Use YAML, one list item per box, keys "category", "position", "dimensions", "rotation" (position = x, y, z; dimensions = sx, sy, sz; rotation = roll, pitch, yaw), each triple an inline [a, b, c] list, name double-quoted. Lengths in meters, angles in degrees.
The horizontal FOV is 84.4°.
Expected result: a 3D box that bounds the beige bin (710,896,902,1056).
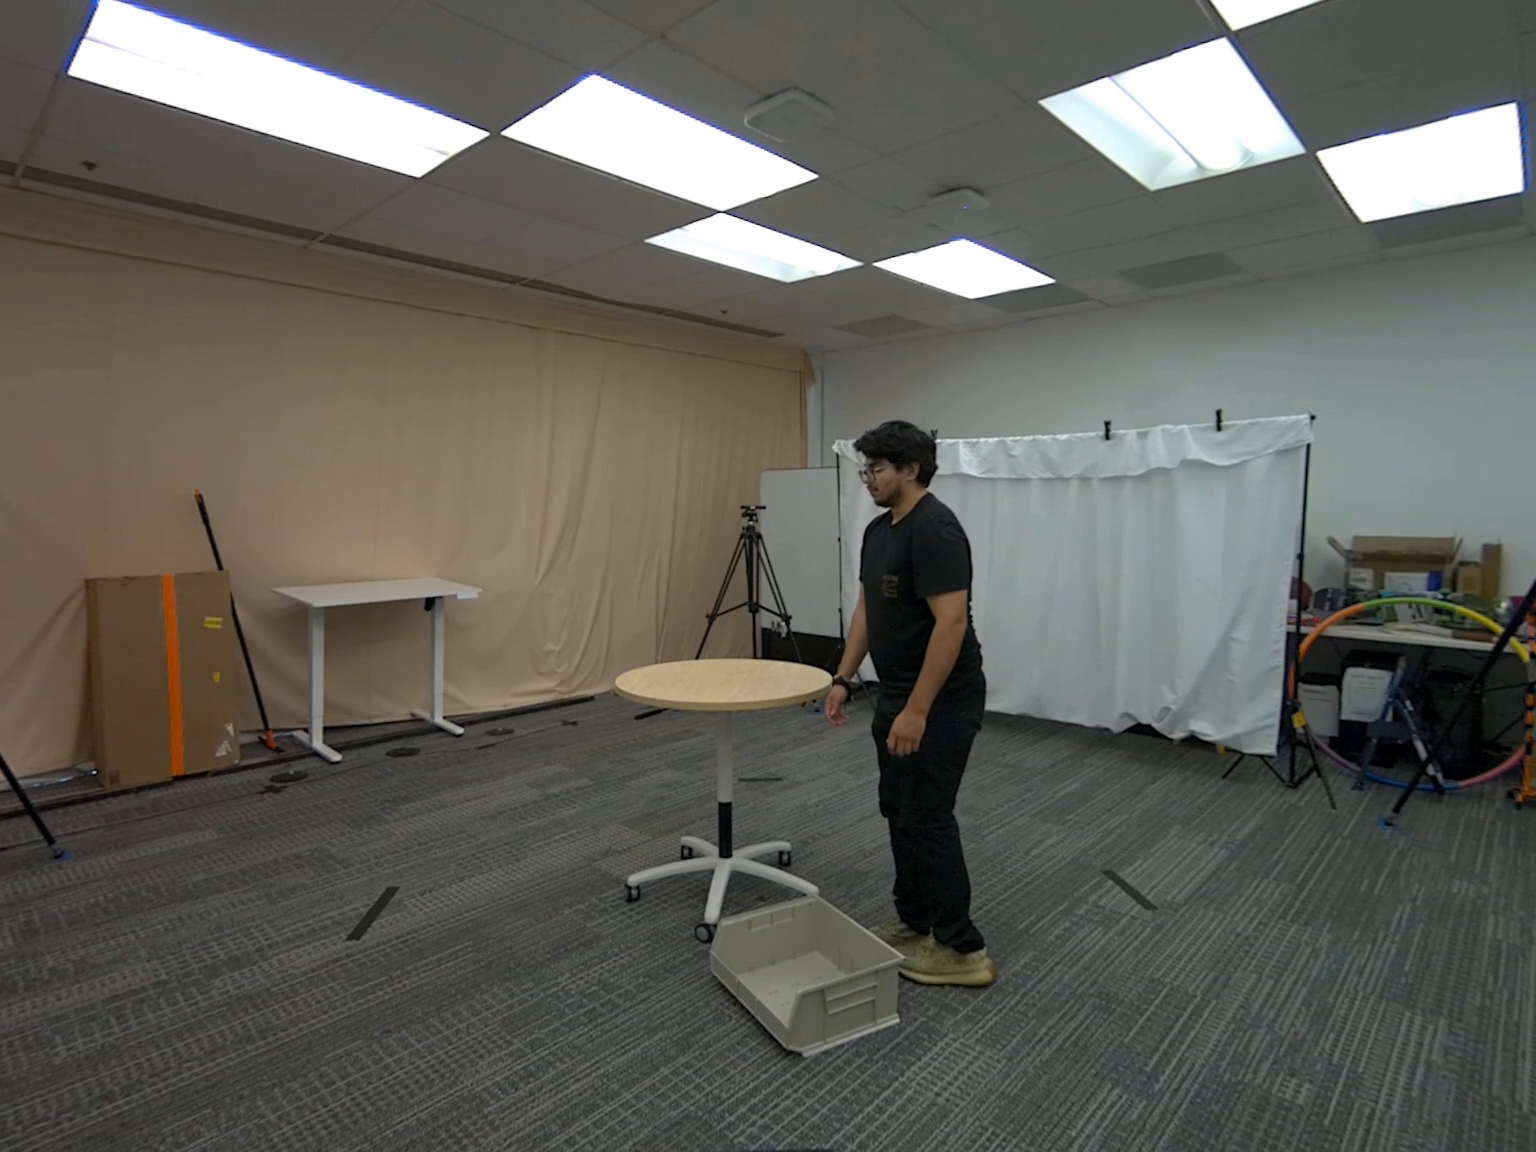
- category: "beige bin"
  position: [0.106, 1.110, 2.354]
  dimensions: [0.367, 0.188, 0.435]
  rotation: [-1, 4, -30]
